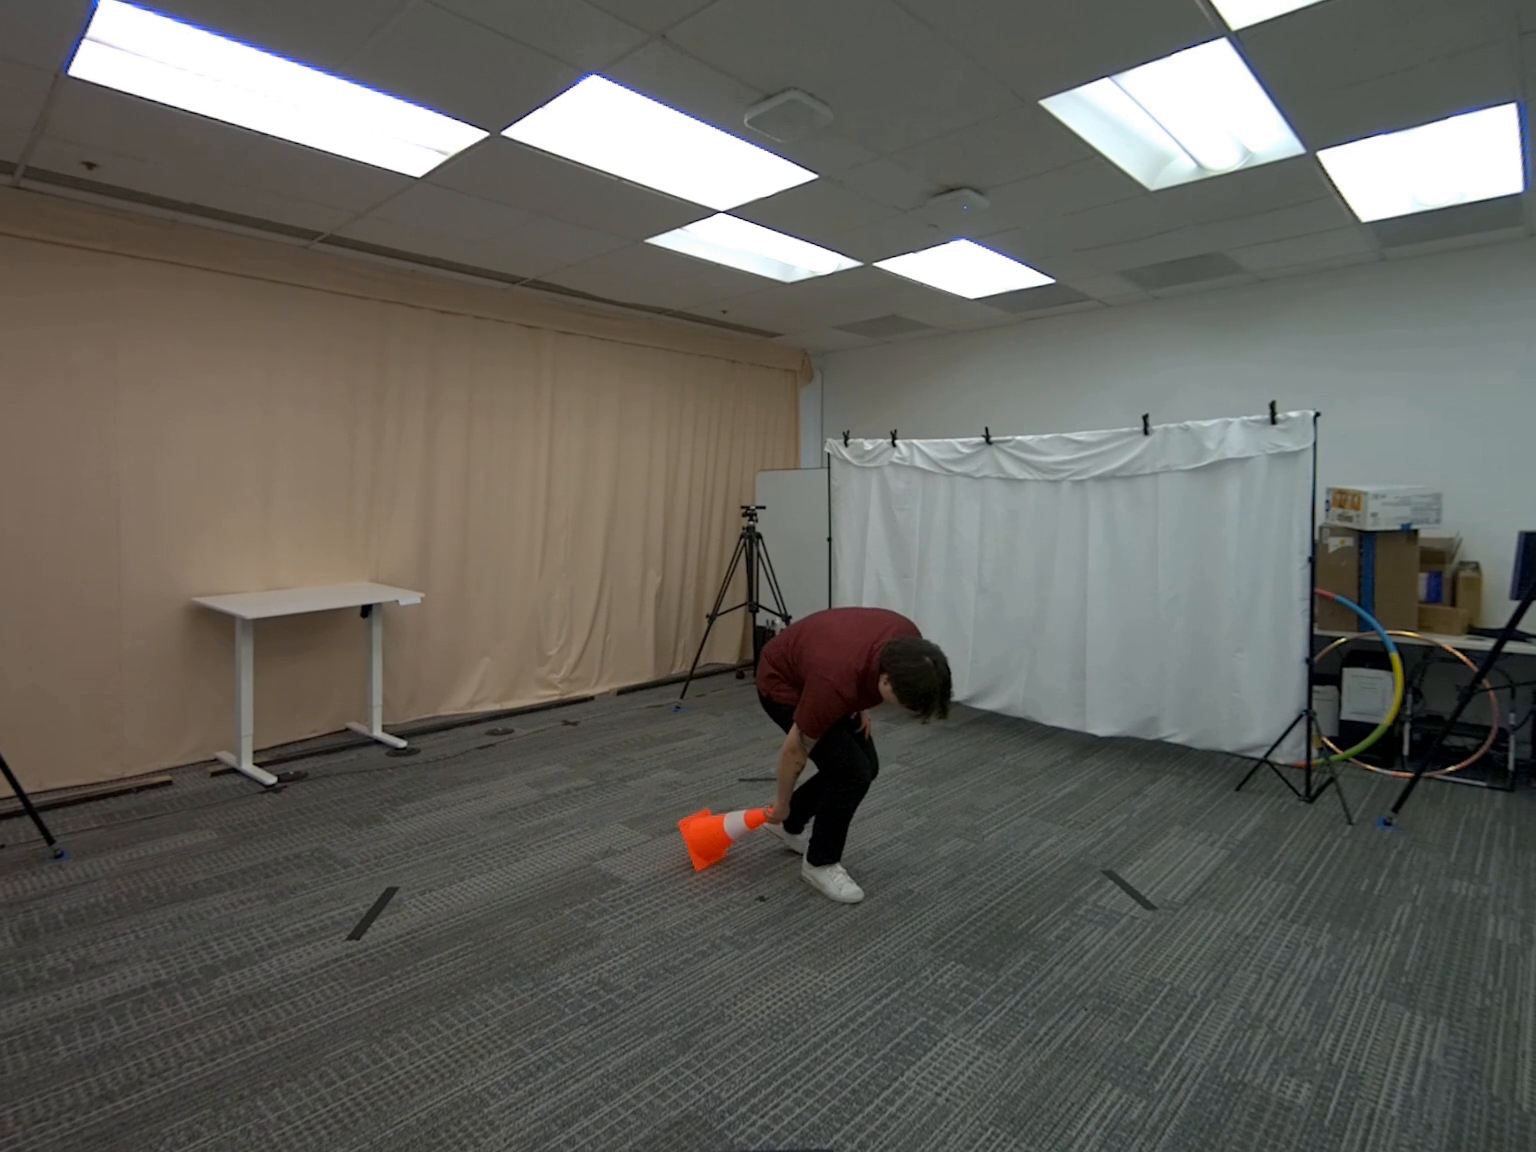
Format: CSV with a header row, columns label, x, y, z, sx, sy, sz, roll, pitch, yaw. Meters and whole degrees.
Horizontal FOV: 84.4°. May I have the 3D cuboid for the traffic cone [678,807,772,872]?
label,x,y,z,sx,sy,sz,roll,pitch,yaw
traffic cone,-0.111,0.954,3.202,0.390,0.206,0.199,-29,-16,30
